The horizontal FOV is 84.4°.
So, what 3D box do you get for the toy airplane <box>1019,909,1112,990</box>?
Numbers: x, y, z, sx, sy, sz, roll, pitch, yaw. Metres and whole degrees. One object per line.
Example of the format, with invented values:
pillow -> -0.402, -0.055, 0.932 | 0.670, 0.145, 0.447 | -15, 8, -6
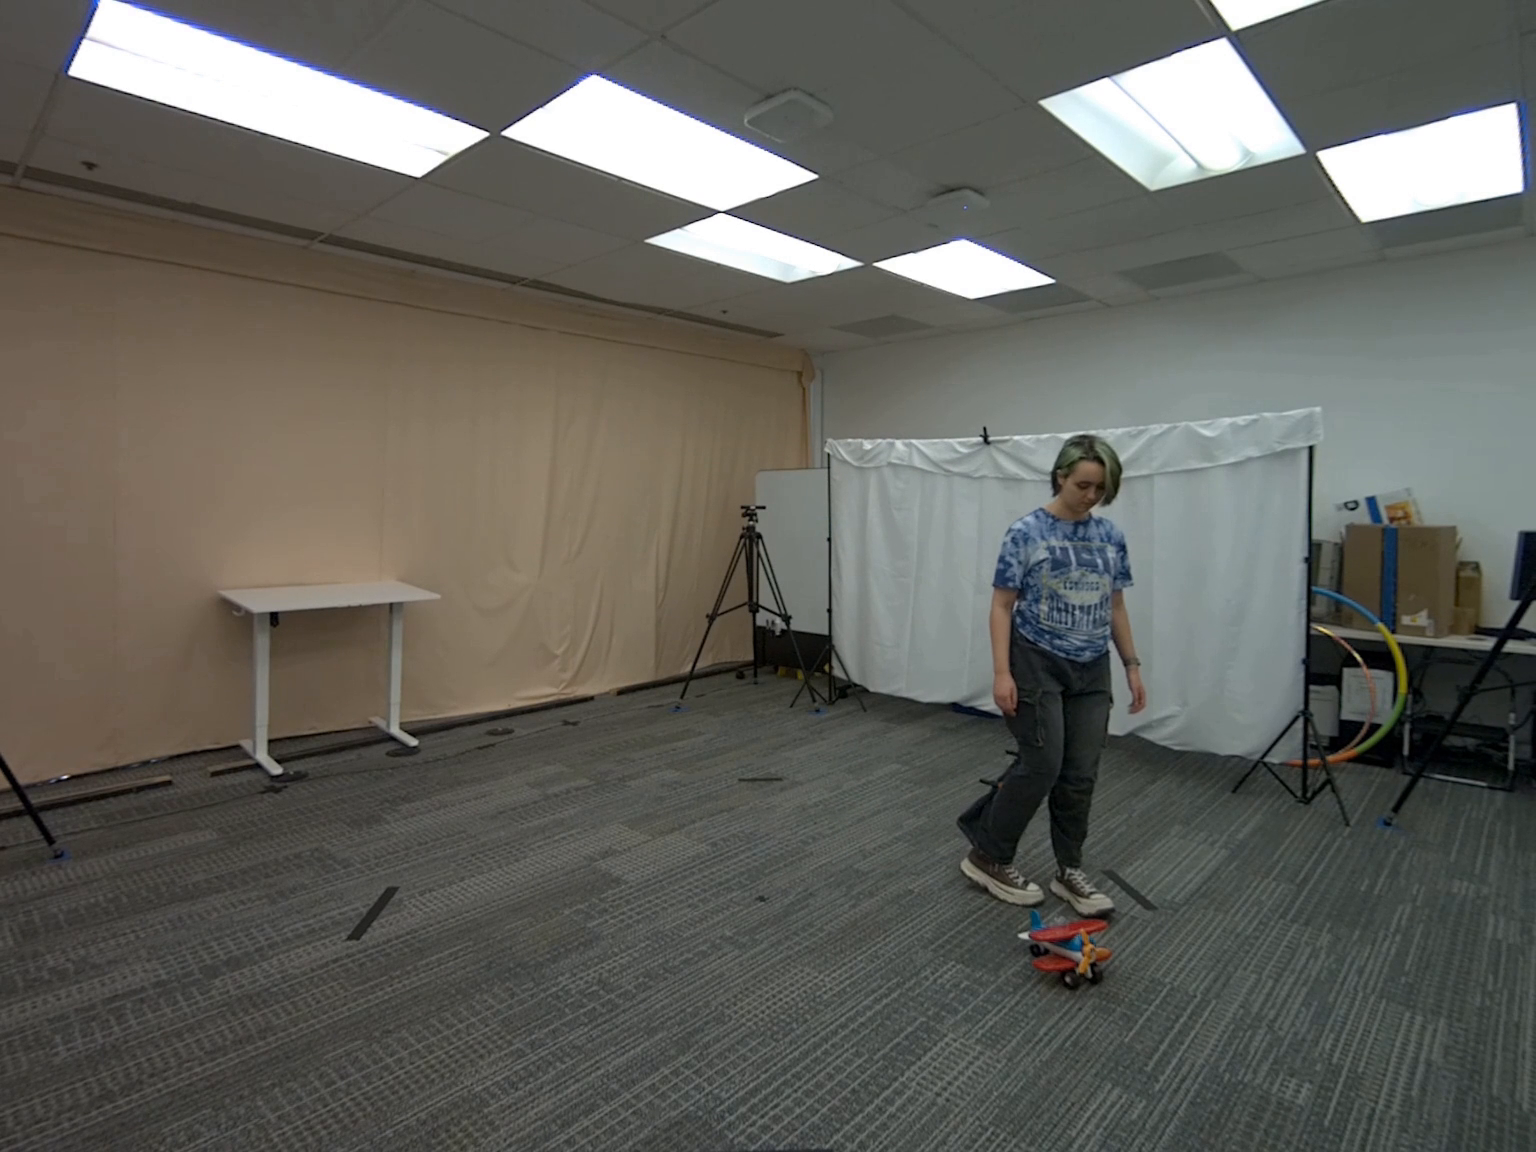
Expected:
toy airplane -> 0.872, 1.110, 2.510 | 0.268, 0.156, 0.243 | 7, 8, 42
